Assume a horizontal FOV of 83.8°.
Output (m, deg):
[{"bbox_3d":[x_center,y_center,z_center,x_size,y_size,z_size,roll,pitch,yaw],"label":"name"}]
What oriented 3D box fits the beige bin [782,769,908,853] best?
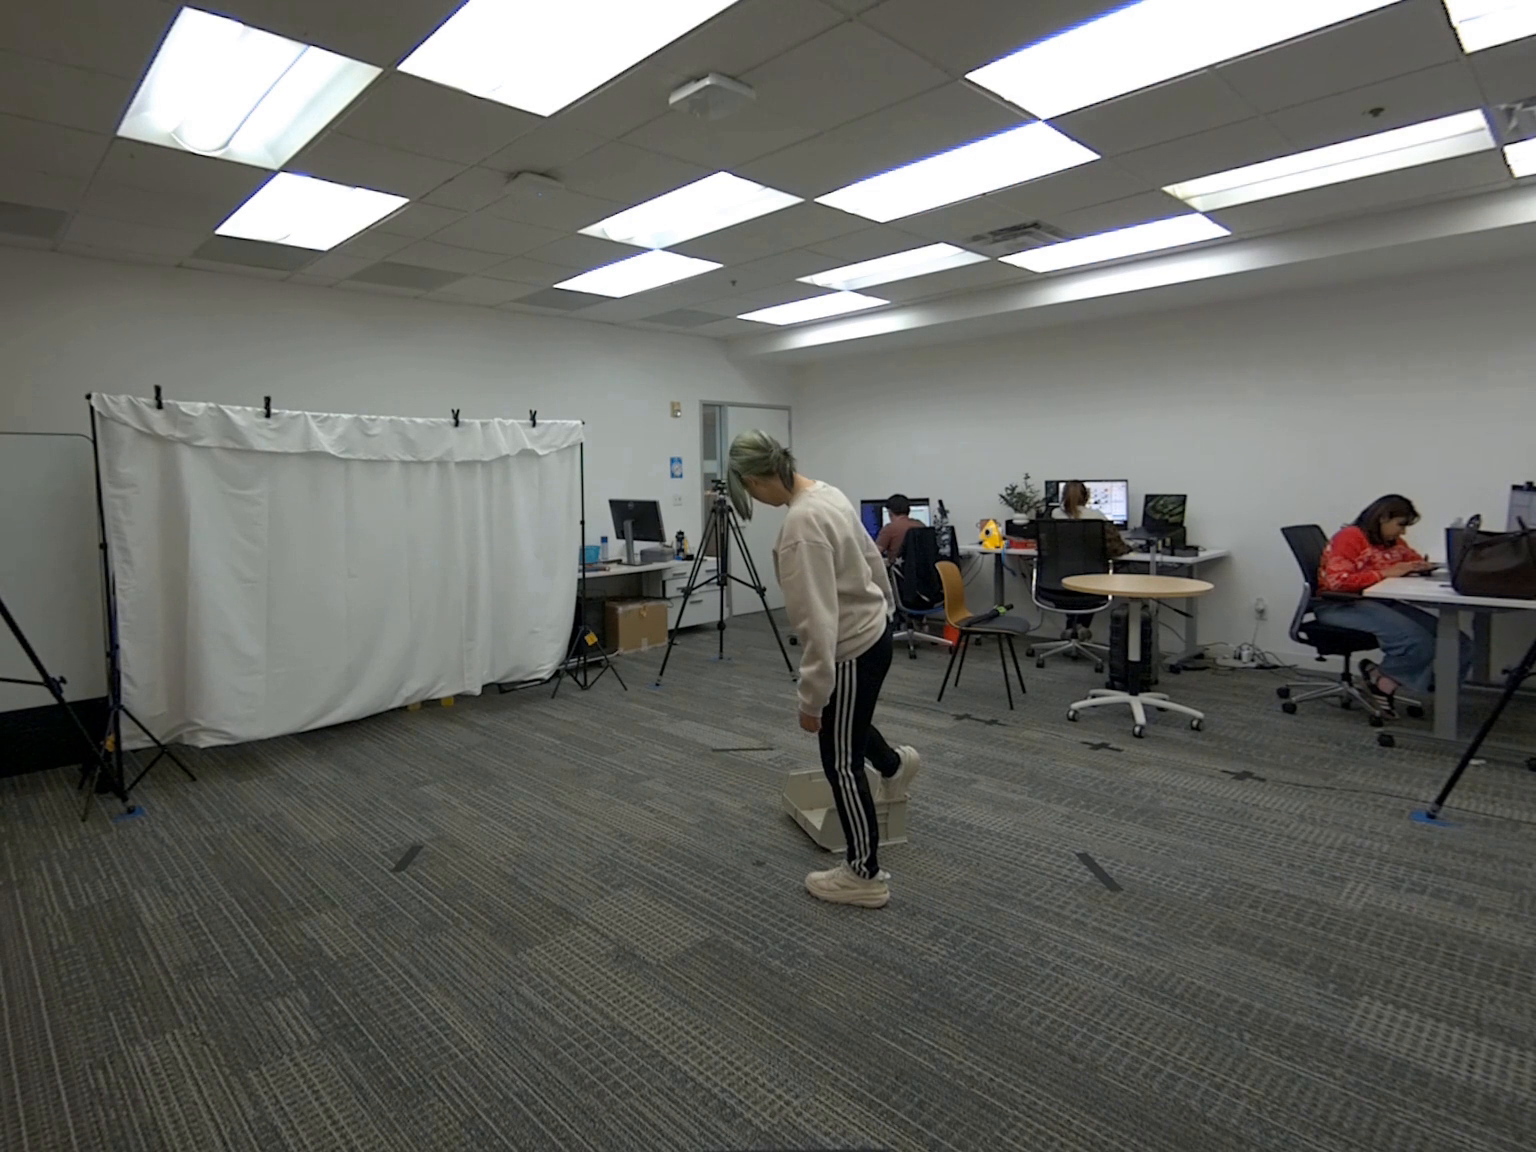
[{"bbox_3d":[0.304,0.918,3.411,0.371,0.188,0.431,-3,6,-18],"label":"beige bin"}]
